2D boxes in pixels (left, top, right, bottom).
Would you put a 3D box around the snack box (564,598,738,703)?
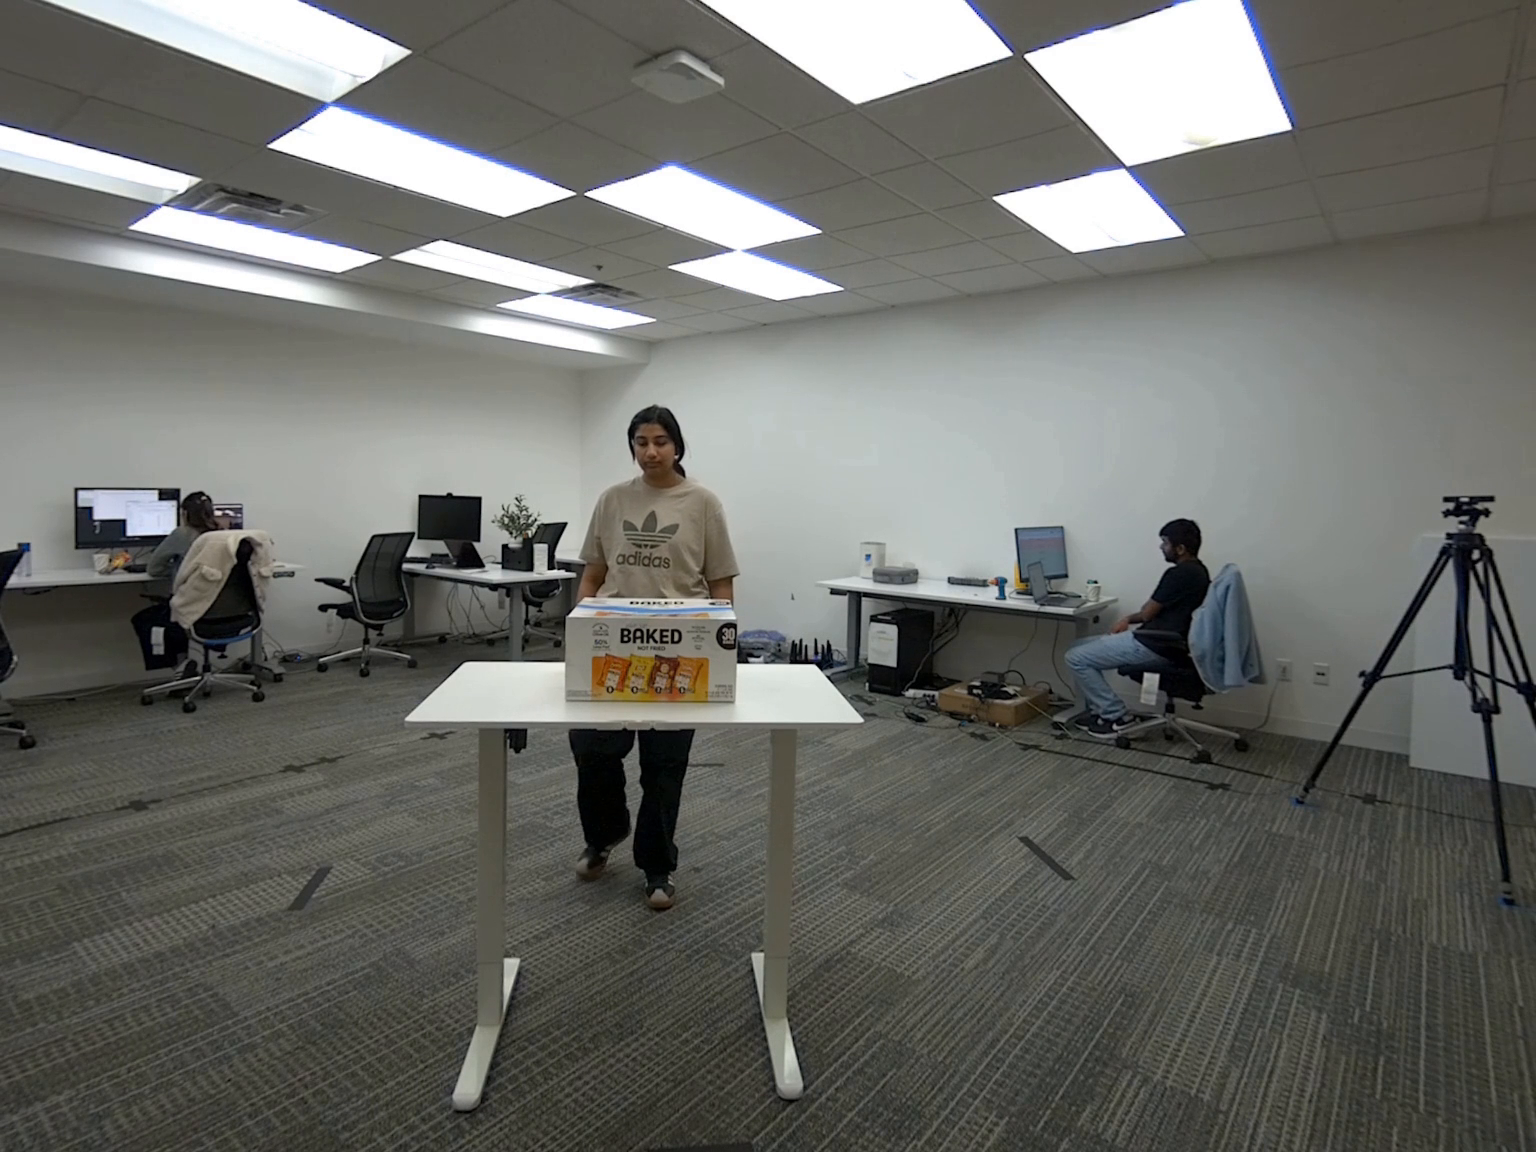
[{"bbox_3d":[-0.299,0.178,2.177,0.404,0.205,0.343,1,6,-4],"label":"snack box"}]
